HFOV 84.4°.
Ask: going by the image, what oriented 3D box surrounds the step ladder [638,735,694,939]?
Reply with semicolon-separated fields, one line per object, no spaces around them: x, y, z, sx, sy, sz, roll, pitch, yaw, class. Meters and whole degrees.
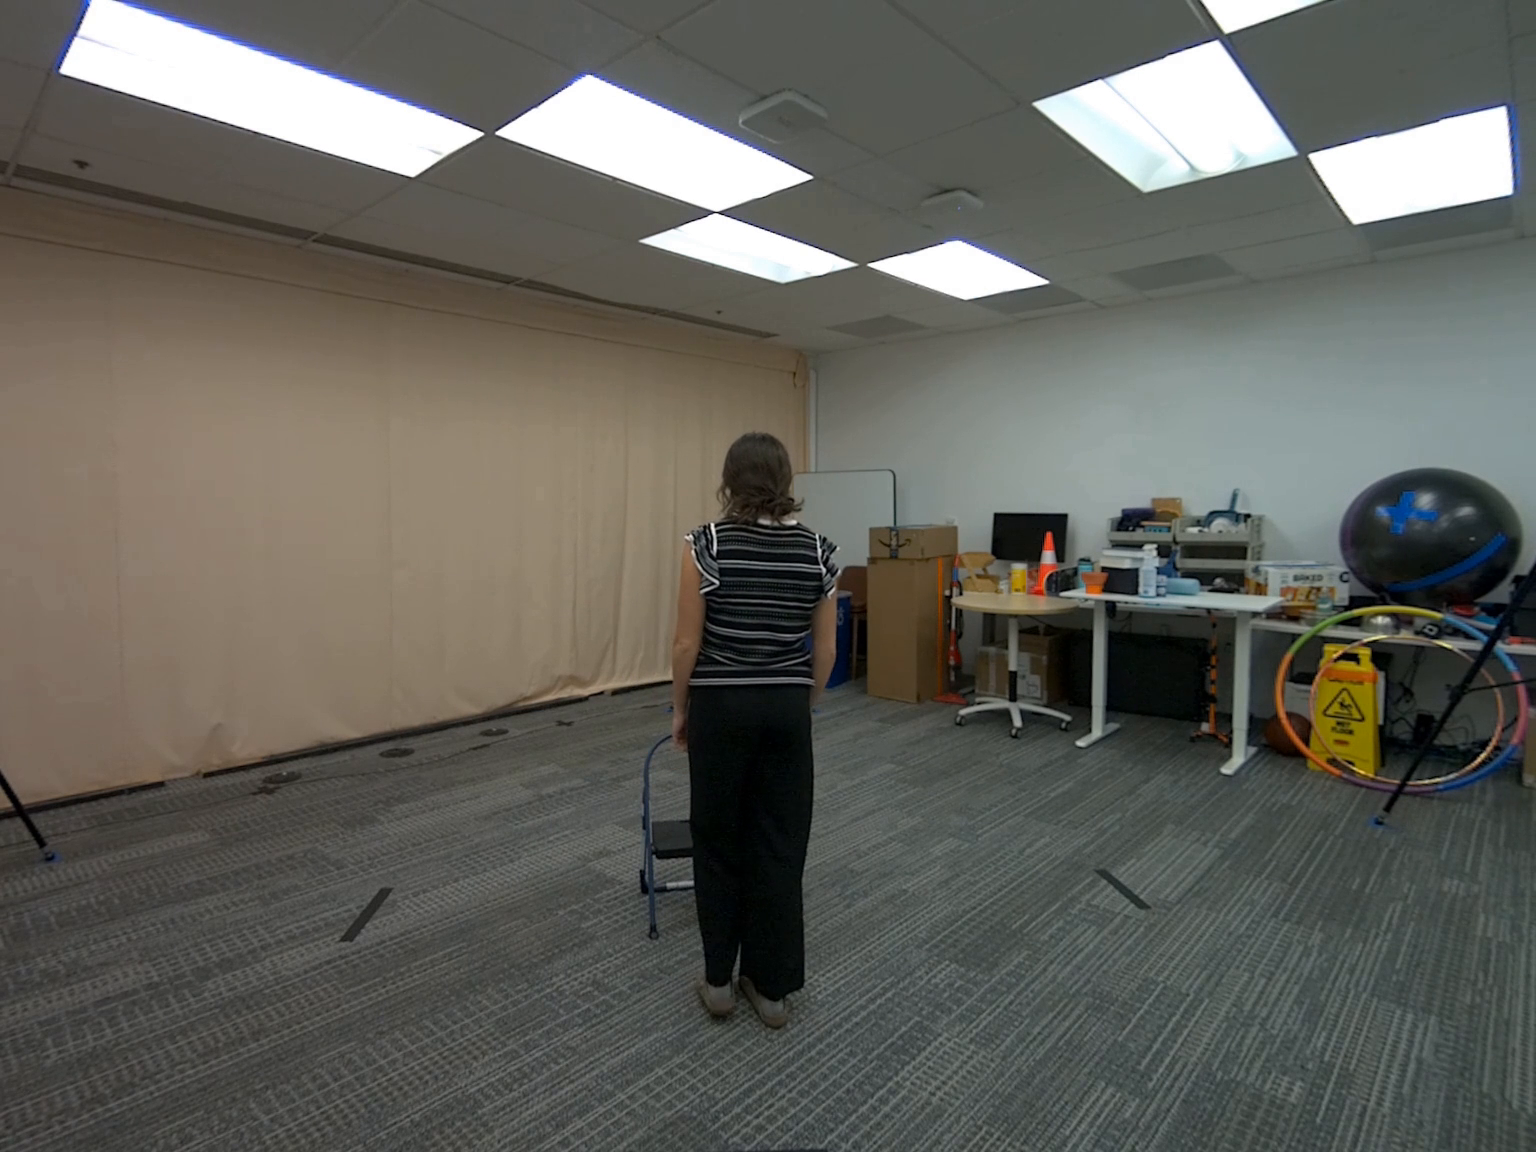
-0.220;0.852;2.905;0.425;0.604;0.355;-1;4;-13;step ladder
